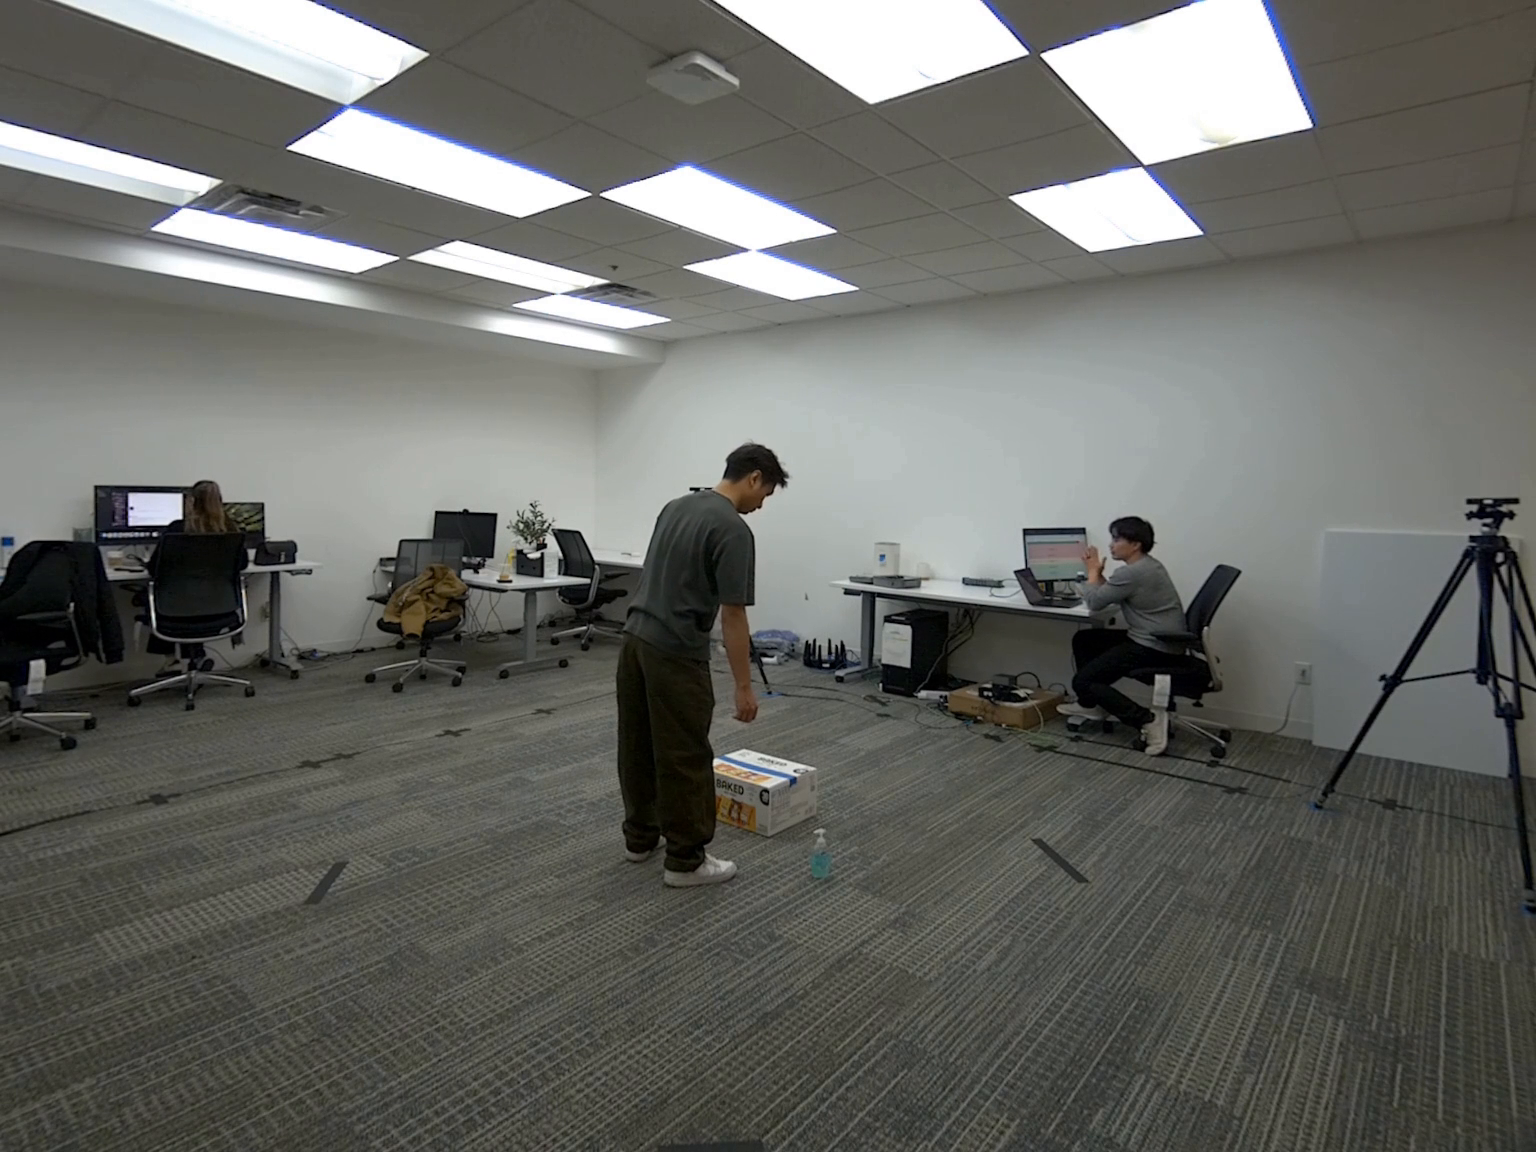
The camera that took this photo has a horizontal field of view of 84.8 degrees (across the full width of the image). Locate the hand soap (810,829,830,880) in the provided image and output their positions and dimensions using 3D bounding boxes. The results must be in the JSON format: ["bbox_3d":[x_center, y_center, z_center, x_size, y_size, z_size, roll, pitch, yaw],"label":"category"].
[{"bbox_3d":[0.182,1.004,3.064,0.082,0.167,0.045,1,7,-30],"label":"hand soap"}]
